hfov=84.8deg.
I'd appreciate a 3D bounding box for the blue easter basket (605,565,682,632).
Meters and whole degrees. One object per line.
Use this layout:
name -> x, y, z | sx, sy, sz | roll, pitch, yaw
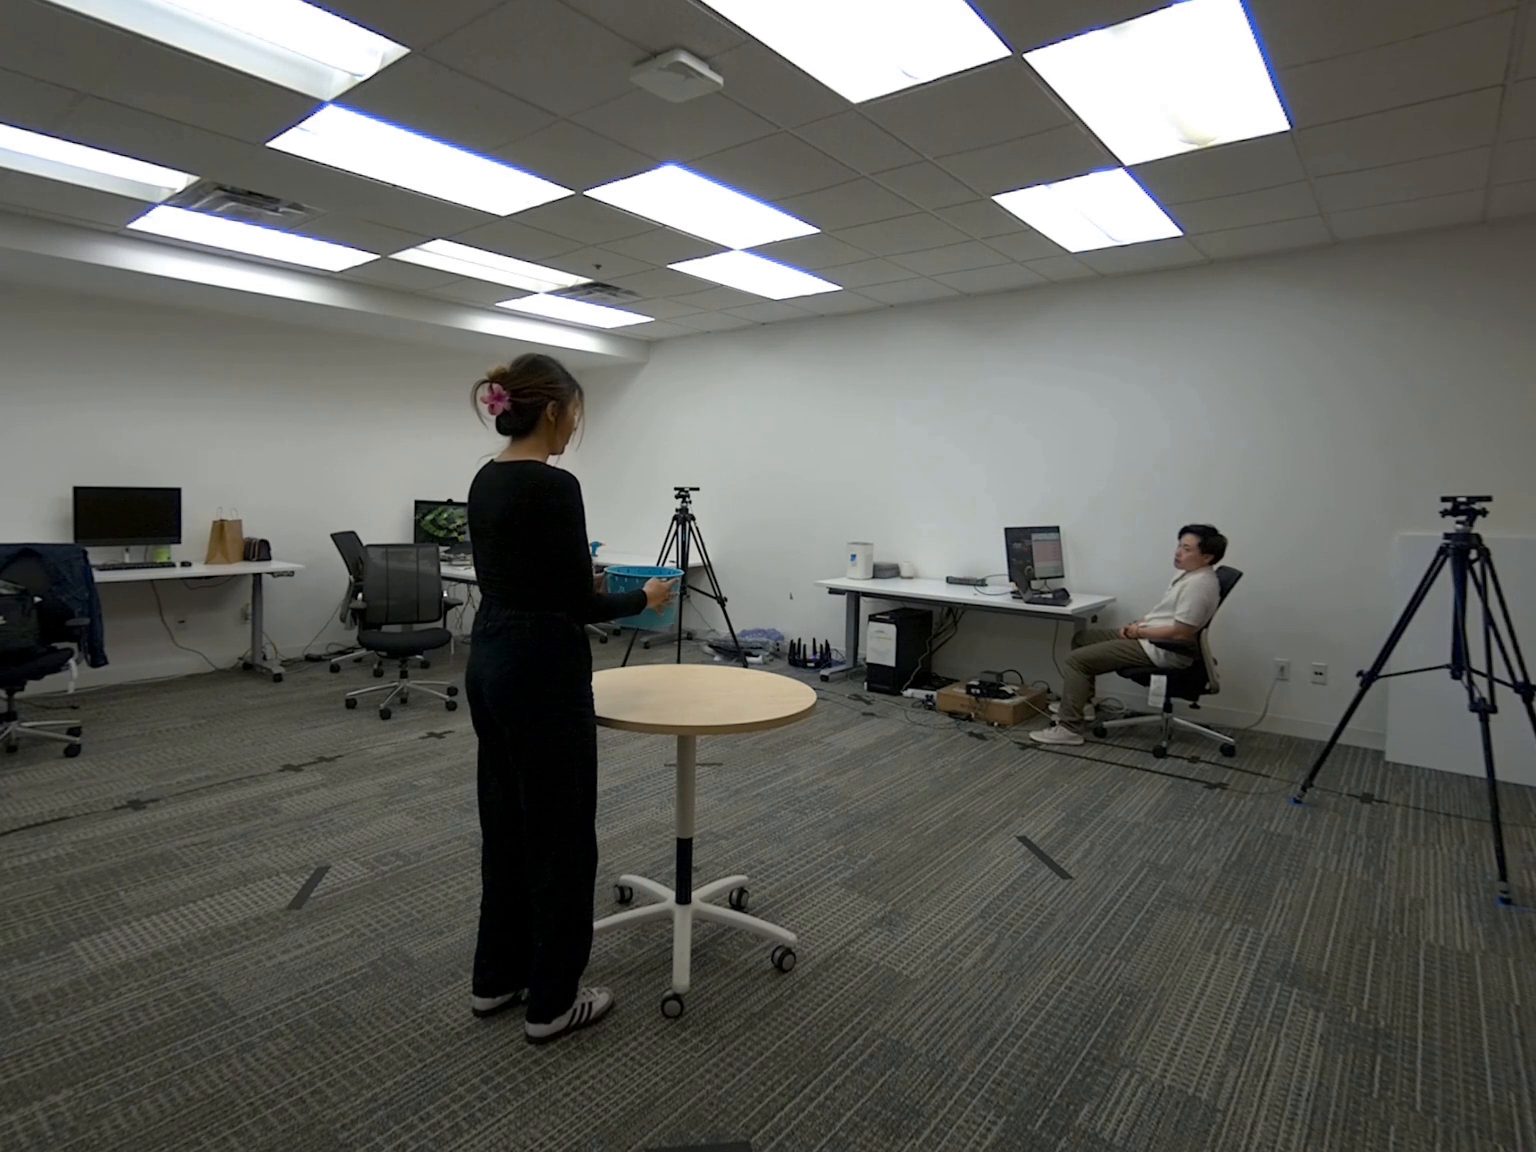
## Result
blue easter basket -> -0.369, 0.060, 2.471 | 0.243, 0.155, 0.245 | 2, 8, -2
